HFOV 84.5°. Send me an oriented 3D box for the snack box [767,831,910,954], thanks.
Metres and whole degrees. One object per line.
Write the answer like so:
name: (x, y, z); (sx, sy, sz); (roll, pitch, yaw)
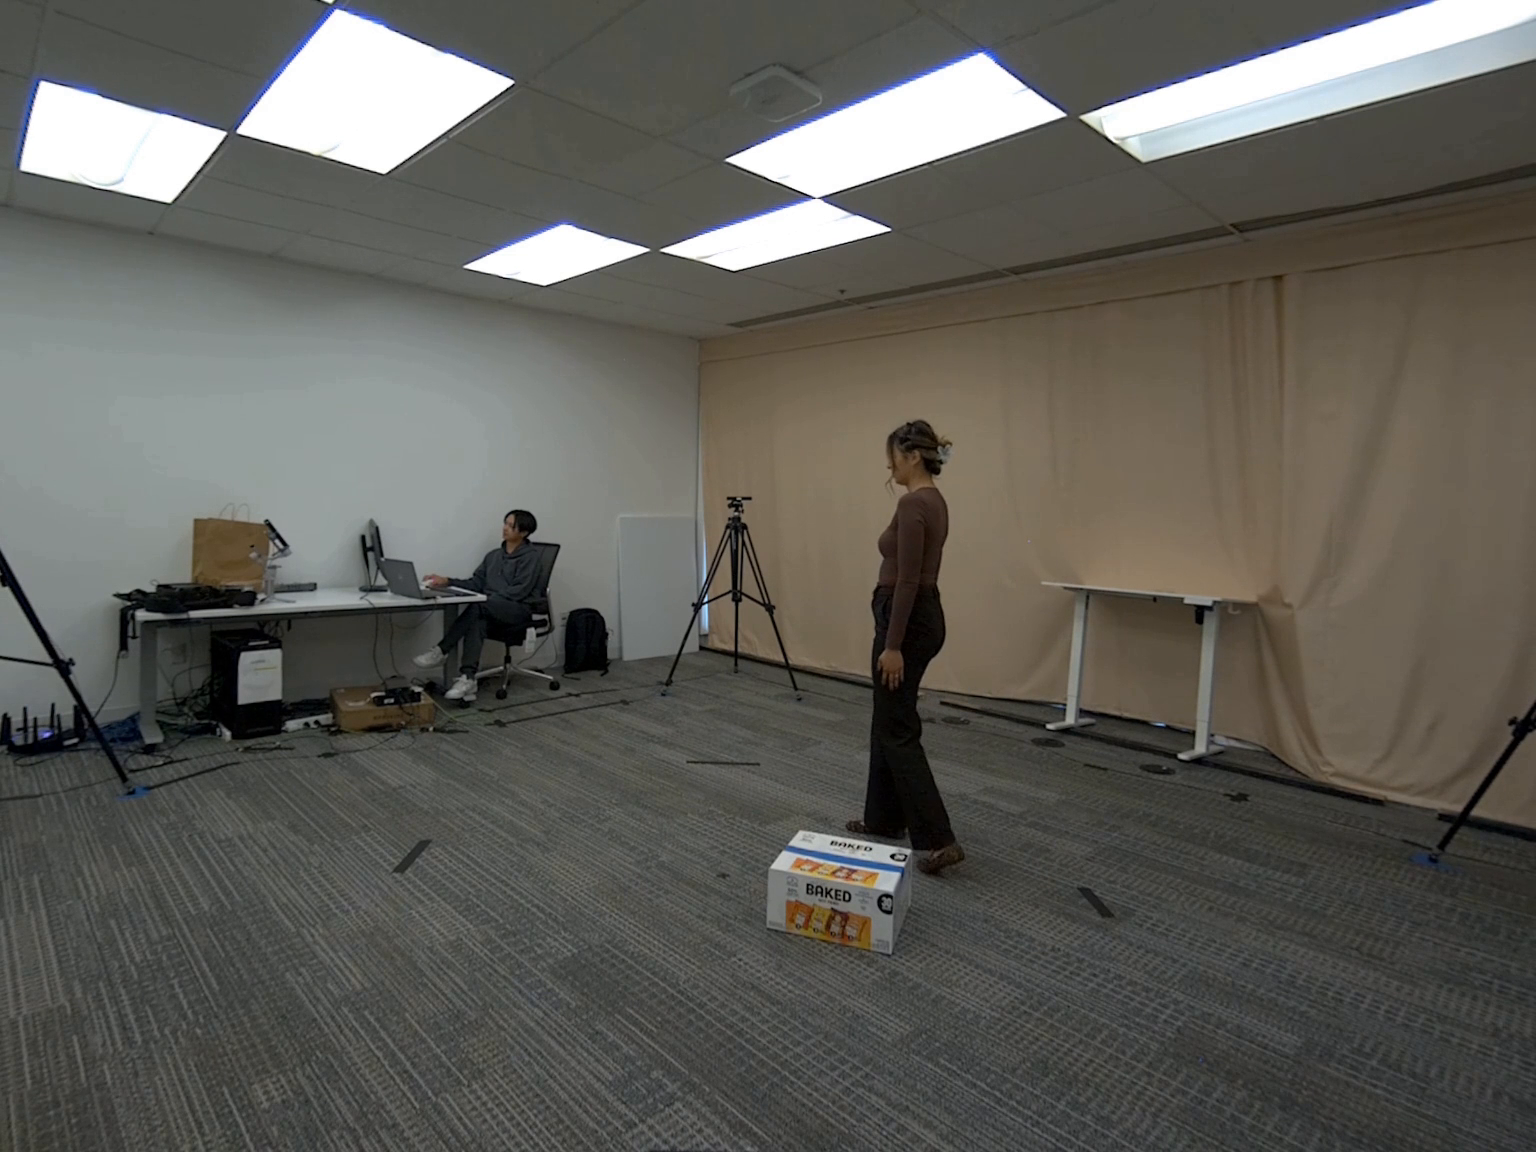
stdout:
snack box: (0.241, 1.040, 2.800); (0.412, 0.205, 0.336); (3, 5, 20)
